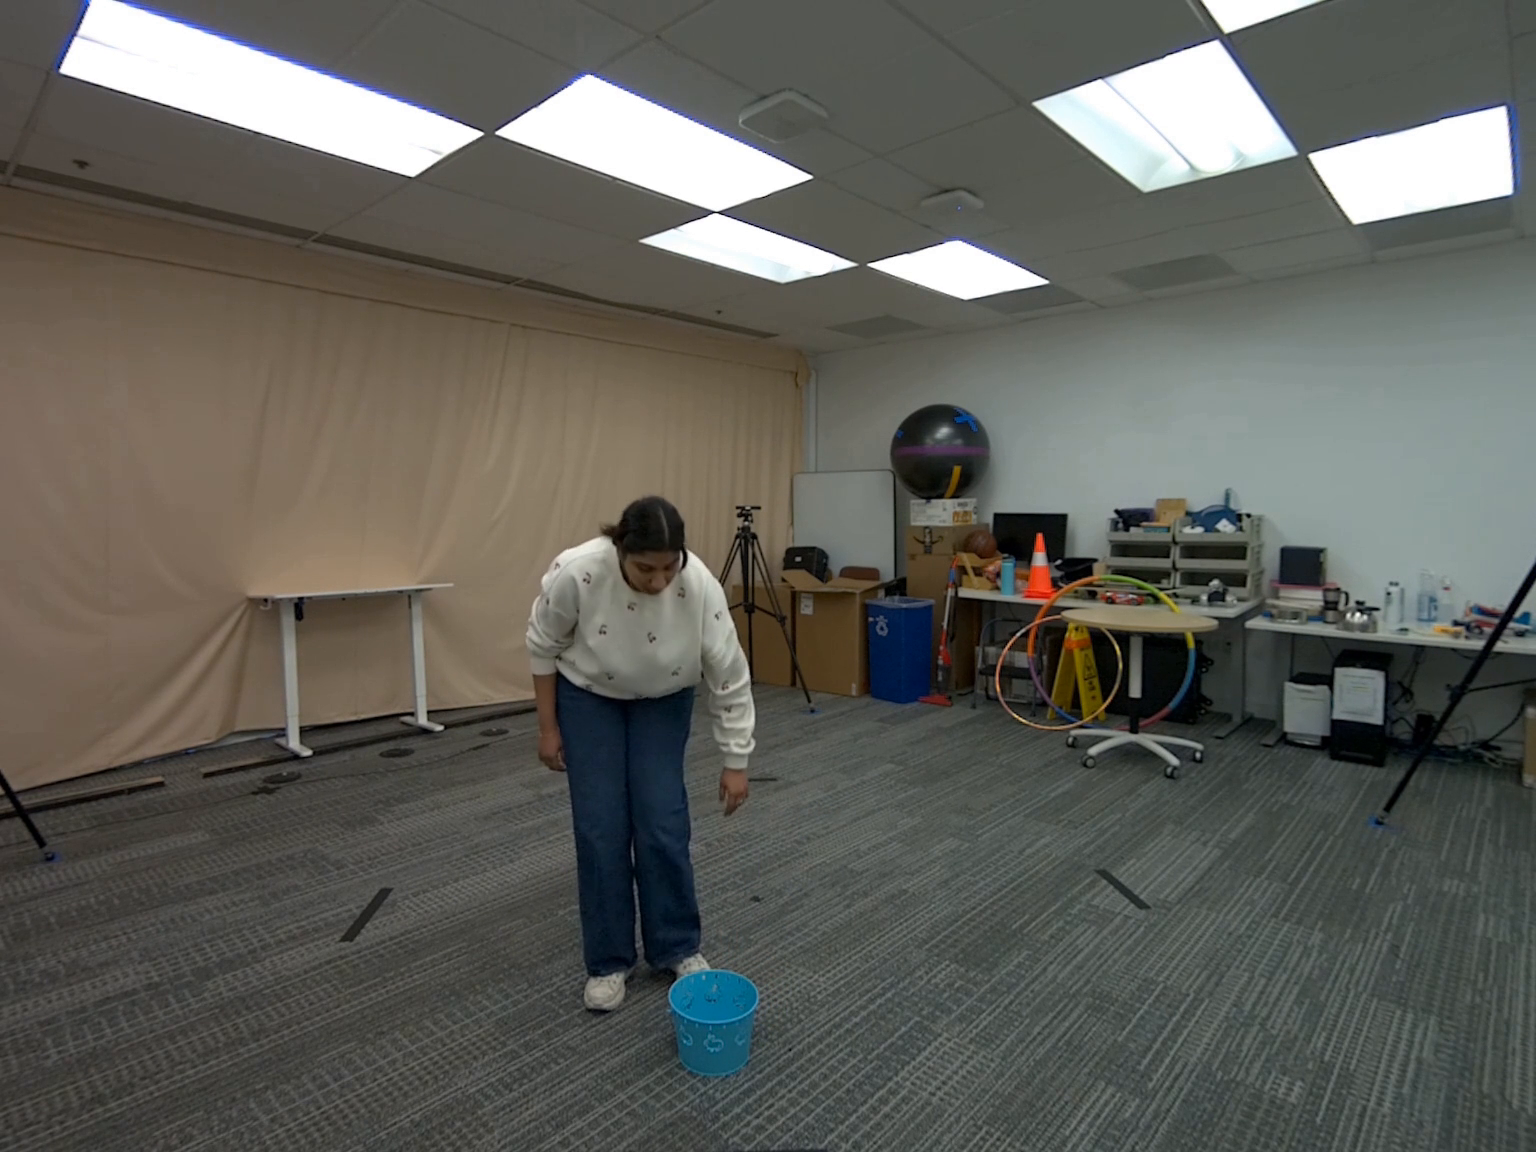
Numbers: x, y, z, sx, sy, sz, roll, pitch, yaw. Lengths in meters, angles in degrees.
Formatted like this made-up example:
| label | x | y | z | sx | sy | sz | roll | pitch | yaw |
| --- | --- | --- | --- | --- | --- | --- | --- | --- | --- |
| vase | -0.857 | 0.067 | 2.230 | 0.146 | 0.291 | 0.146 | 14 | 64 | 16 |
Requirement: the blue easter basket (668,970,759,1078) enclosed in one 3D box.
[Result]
| label | x | y | z | sx | sy | sz | roll | pitch | yaw |
| --- | --- | --- | --- | --- | --- | --- | --- | --- | --- |
| blue easter basket | -0.133 | 1.133 | 2.147 | 0.243 | 0.155 | 0.244 | 1 | 4 | -2 |
